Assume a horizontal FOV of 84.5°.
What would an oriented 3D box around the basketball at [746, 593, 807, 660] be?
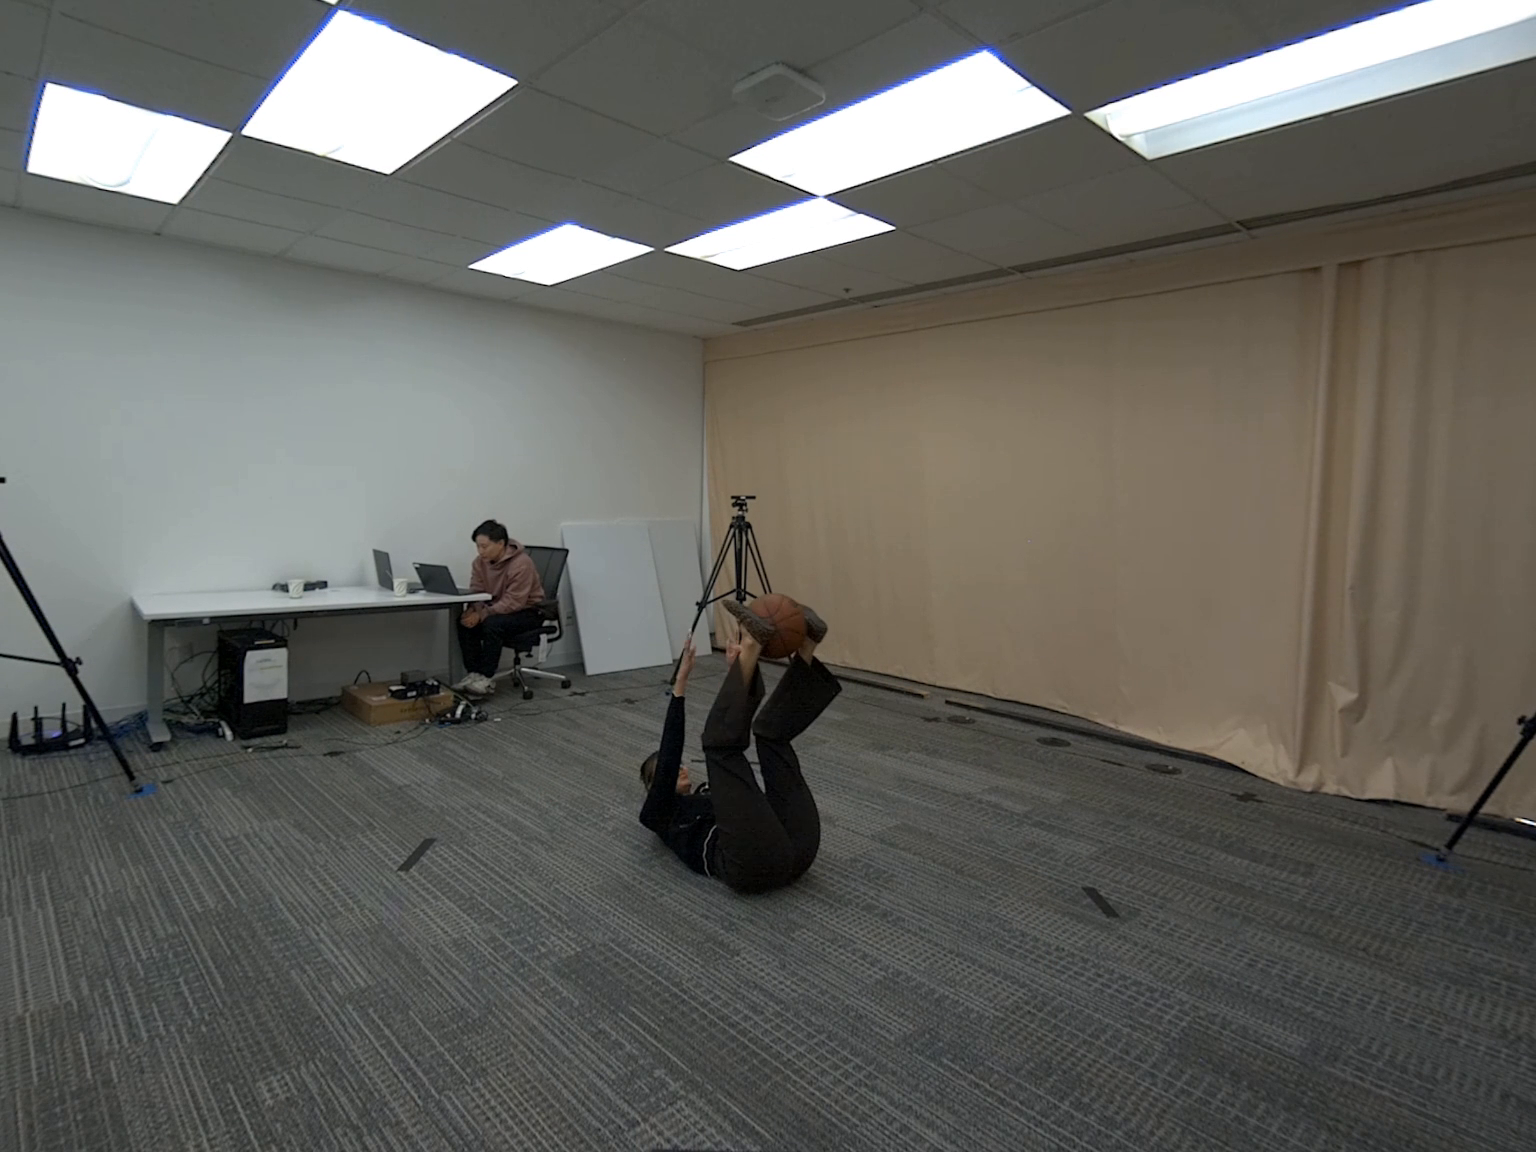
[{"bbox_3d":[0.053,0.199,2.999,0.236,0.235,0.237,1,4,-1],"label":"basketball"}]
